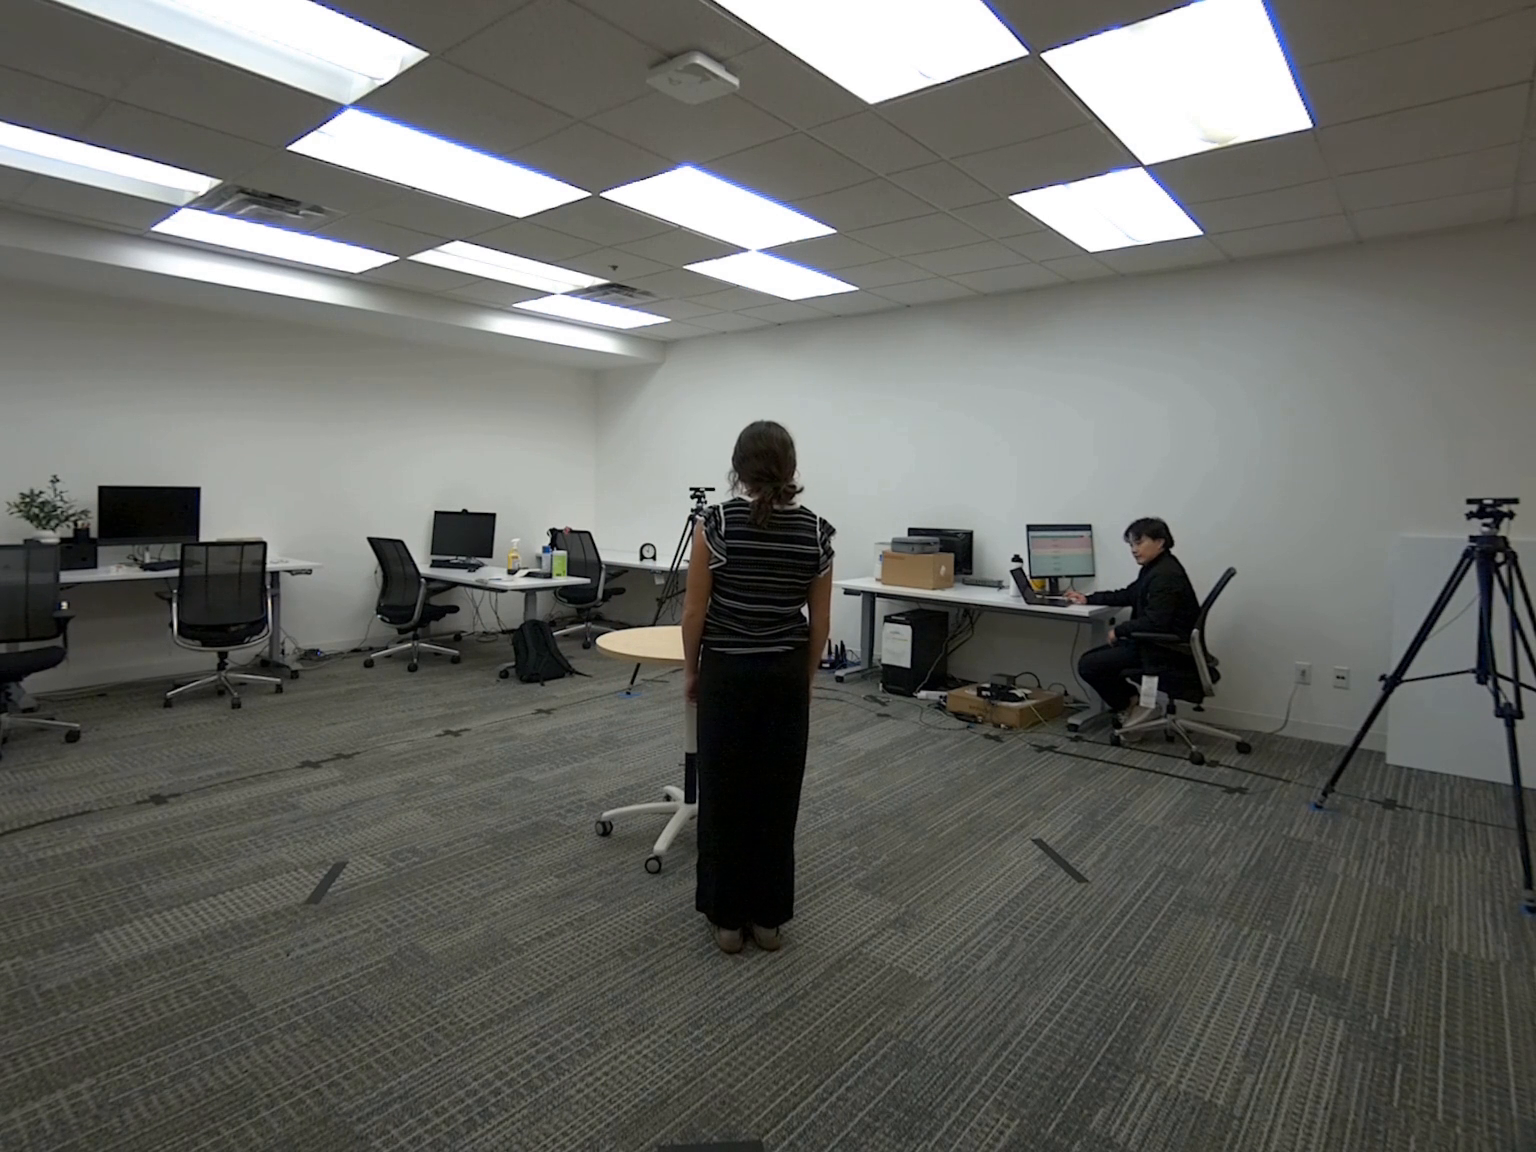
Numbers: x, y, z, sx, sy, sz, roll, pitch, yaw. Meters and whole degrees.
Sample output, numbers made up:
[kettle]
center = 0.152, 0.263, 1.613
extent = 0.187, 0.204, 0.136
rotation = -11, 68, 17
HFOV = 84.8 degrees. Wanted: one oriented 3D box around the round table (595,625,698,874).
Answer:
[round table]
center = -0.325, 0.643, 3.355
extent = 0.784, 0.784, 0.789
rotation = 1, 4, -2
